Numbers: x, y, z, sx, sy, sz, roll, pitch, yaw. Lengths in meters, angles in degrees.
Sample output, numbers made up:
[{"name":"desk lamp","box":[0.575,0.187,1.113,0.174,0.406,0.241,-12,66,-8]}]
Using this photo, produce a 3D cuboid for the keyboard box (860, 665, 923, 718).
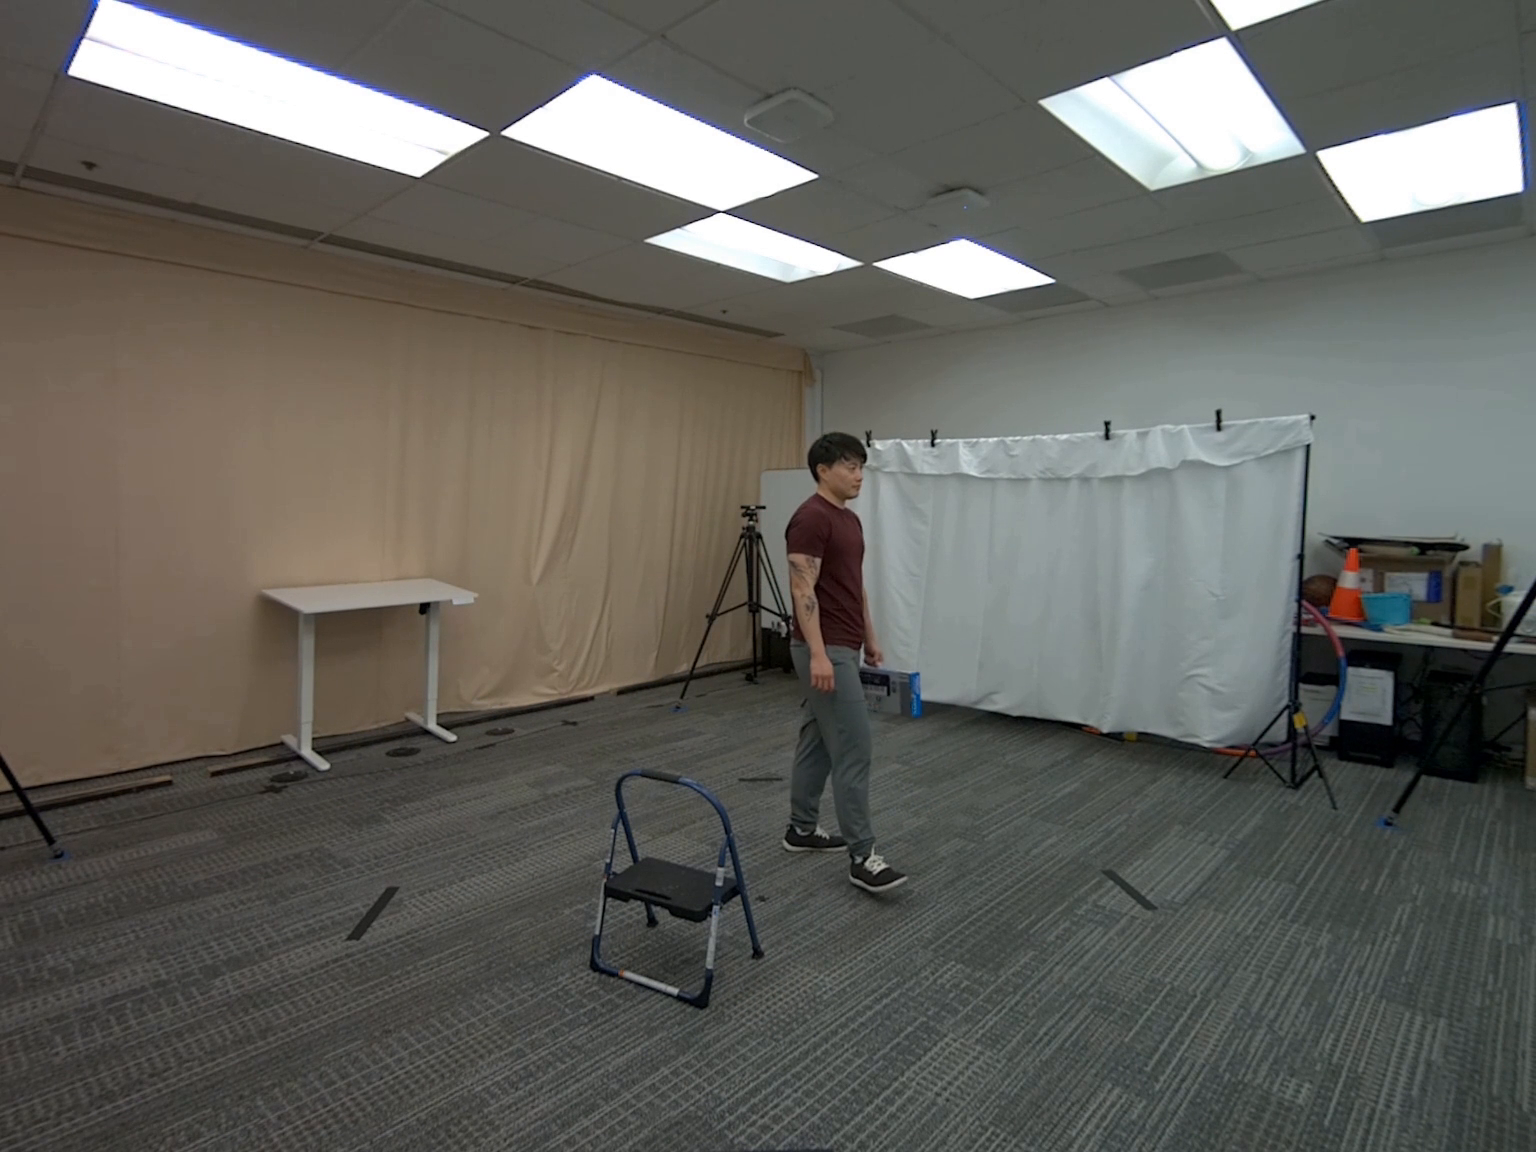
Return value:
[{"name":"keyboard box","box":[0.433,0.463,3.472,0.057,0.176,0.451,-4,3,-42]}]
